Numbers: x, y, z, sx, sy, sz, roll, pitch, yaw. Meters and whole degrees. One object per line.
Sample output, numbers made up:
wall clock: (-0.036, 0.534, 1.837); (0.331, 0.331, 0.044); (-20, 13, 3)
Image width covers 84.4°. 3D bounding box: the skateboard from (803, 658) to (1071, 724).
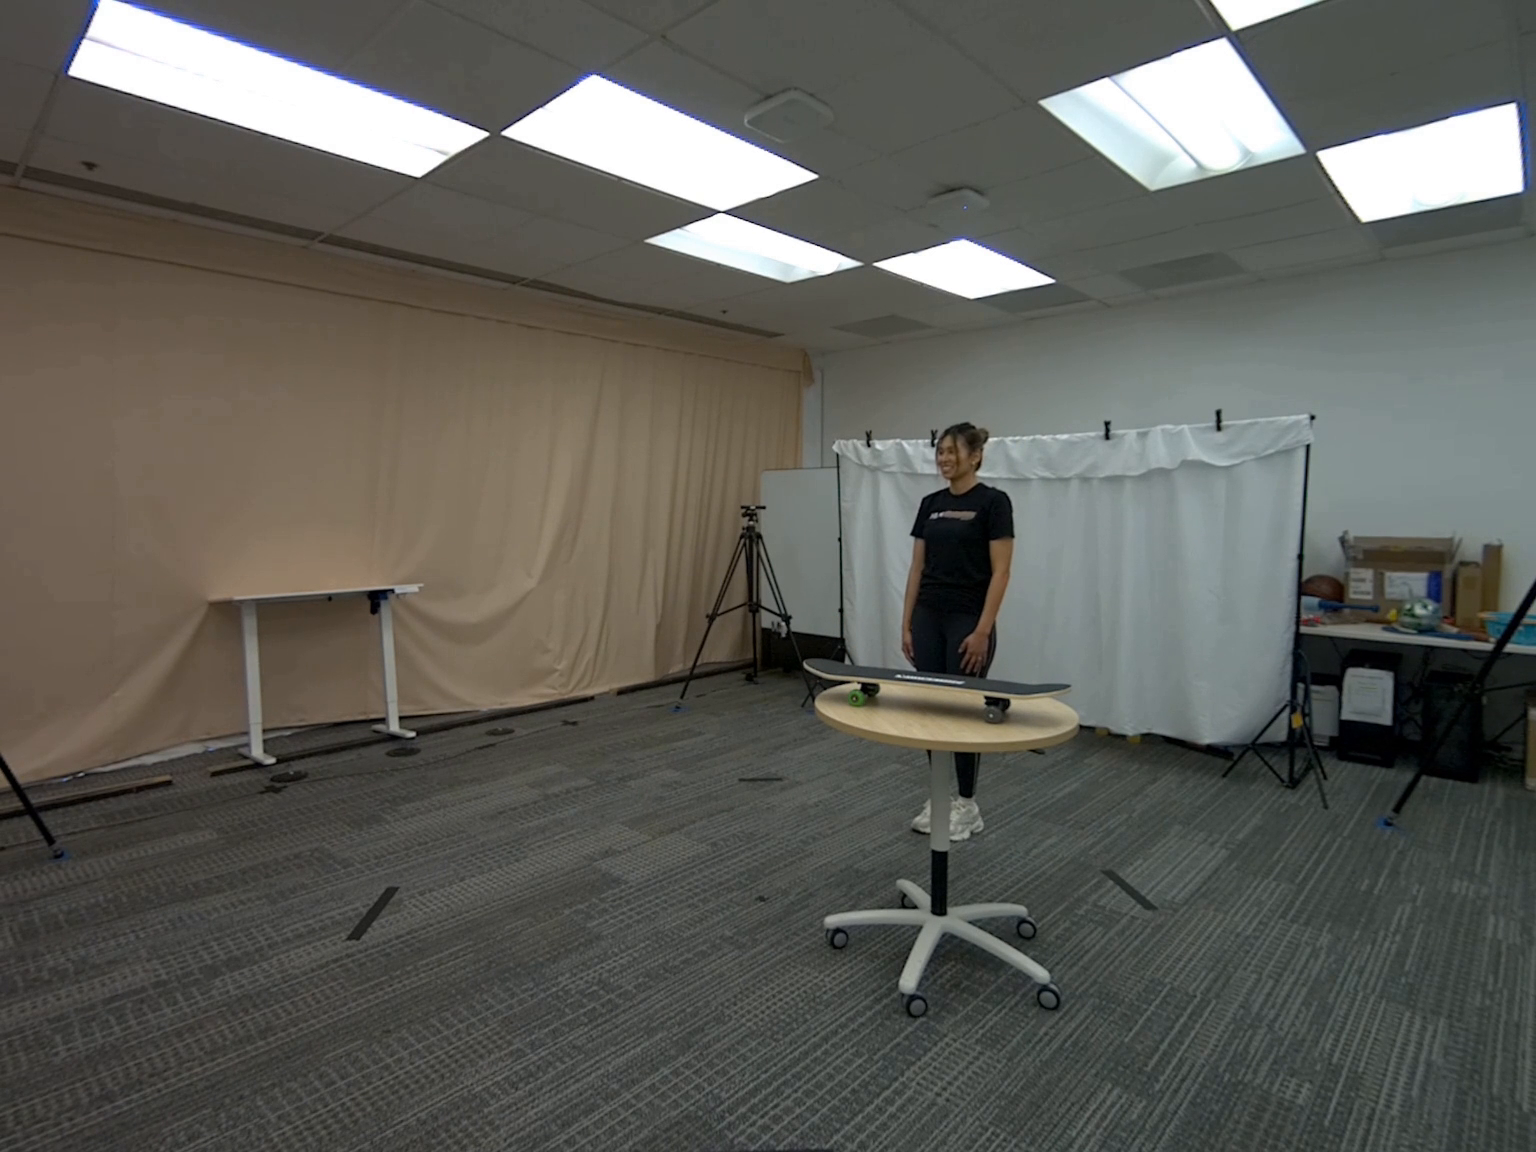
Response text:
skateboard: (0.494, 0.346, 2.524); (0.806, 0.110, 0.189); (2, 6, 27)
